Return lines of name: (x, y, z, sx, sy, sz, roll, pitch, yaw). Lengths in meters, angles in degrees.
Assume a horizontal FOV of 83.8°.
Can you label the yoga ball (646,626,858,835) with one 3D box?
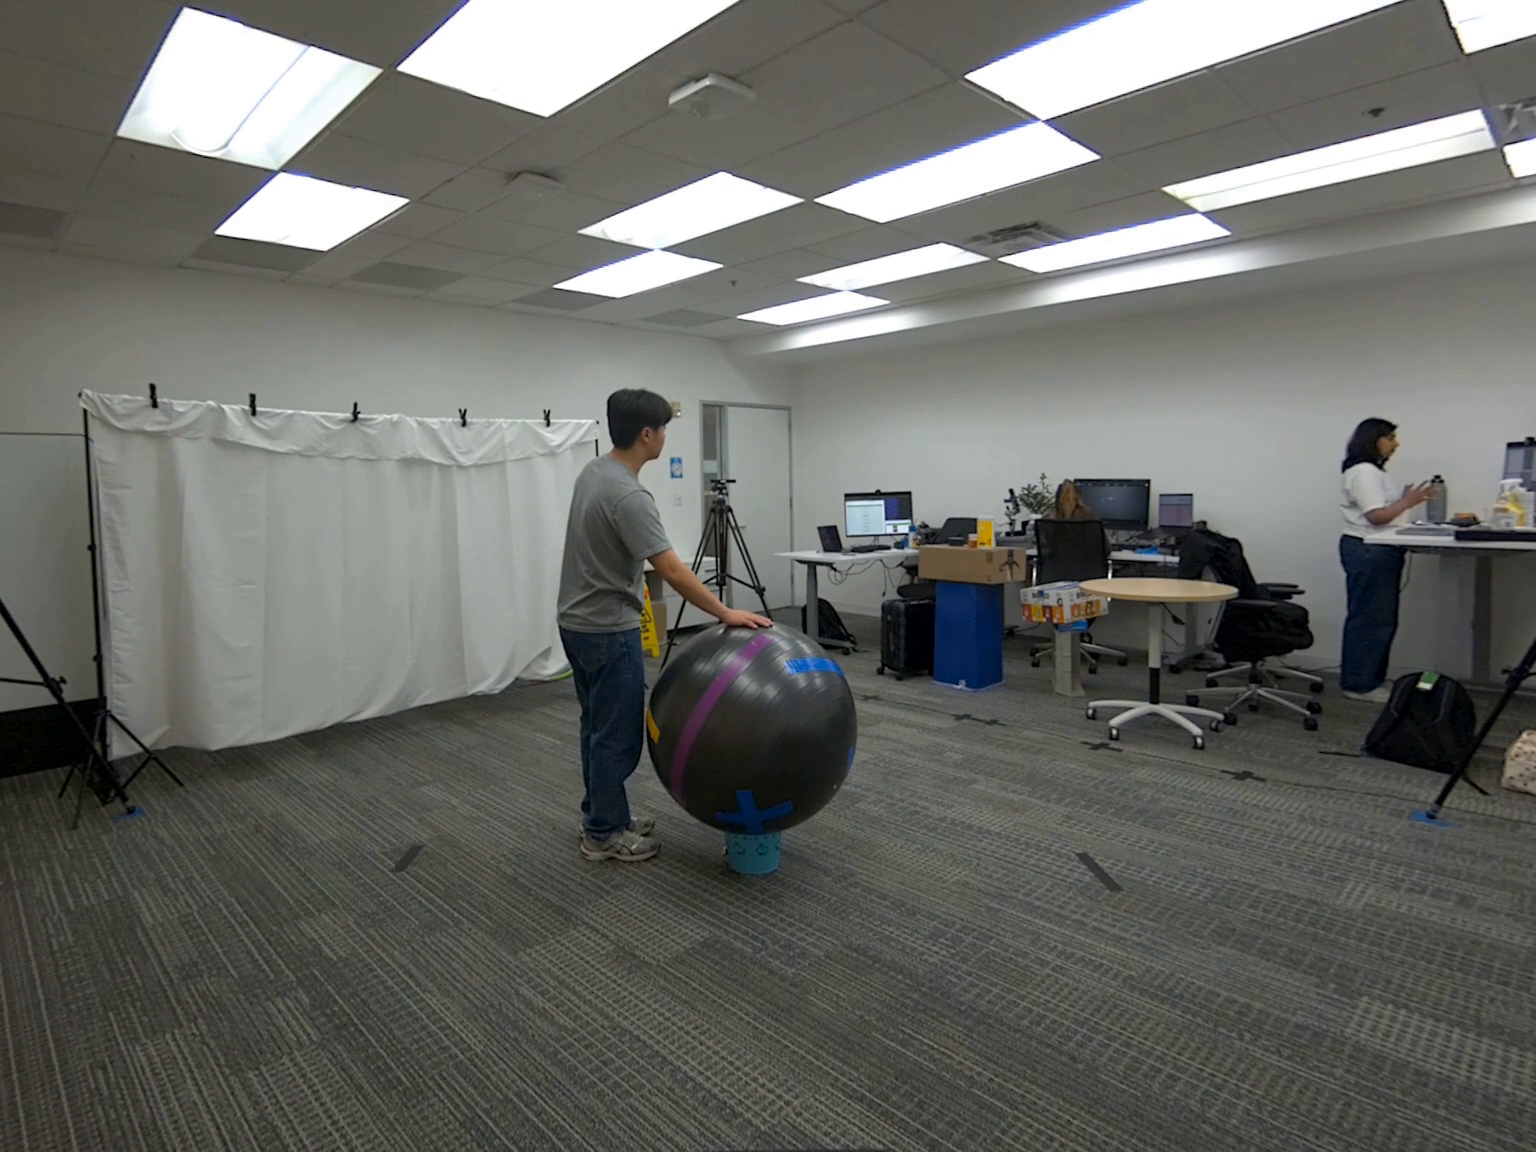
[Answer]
yoga ball: (-0.060, 0.534, 3.085, 0.757, 0.755, 0.762, -1, 5, -2)
